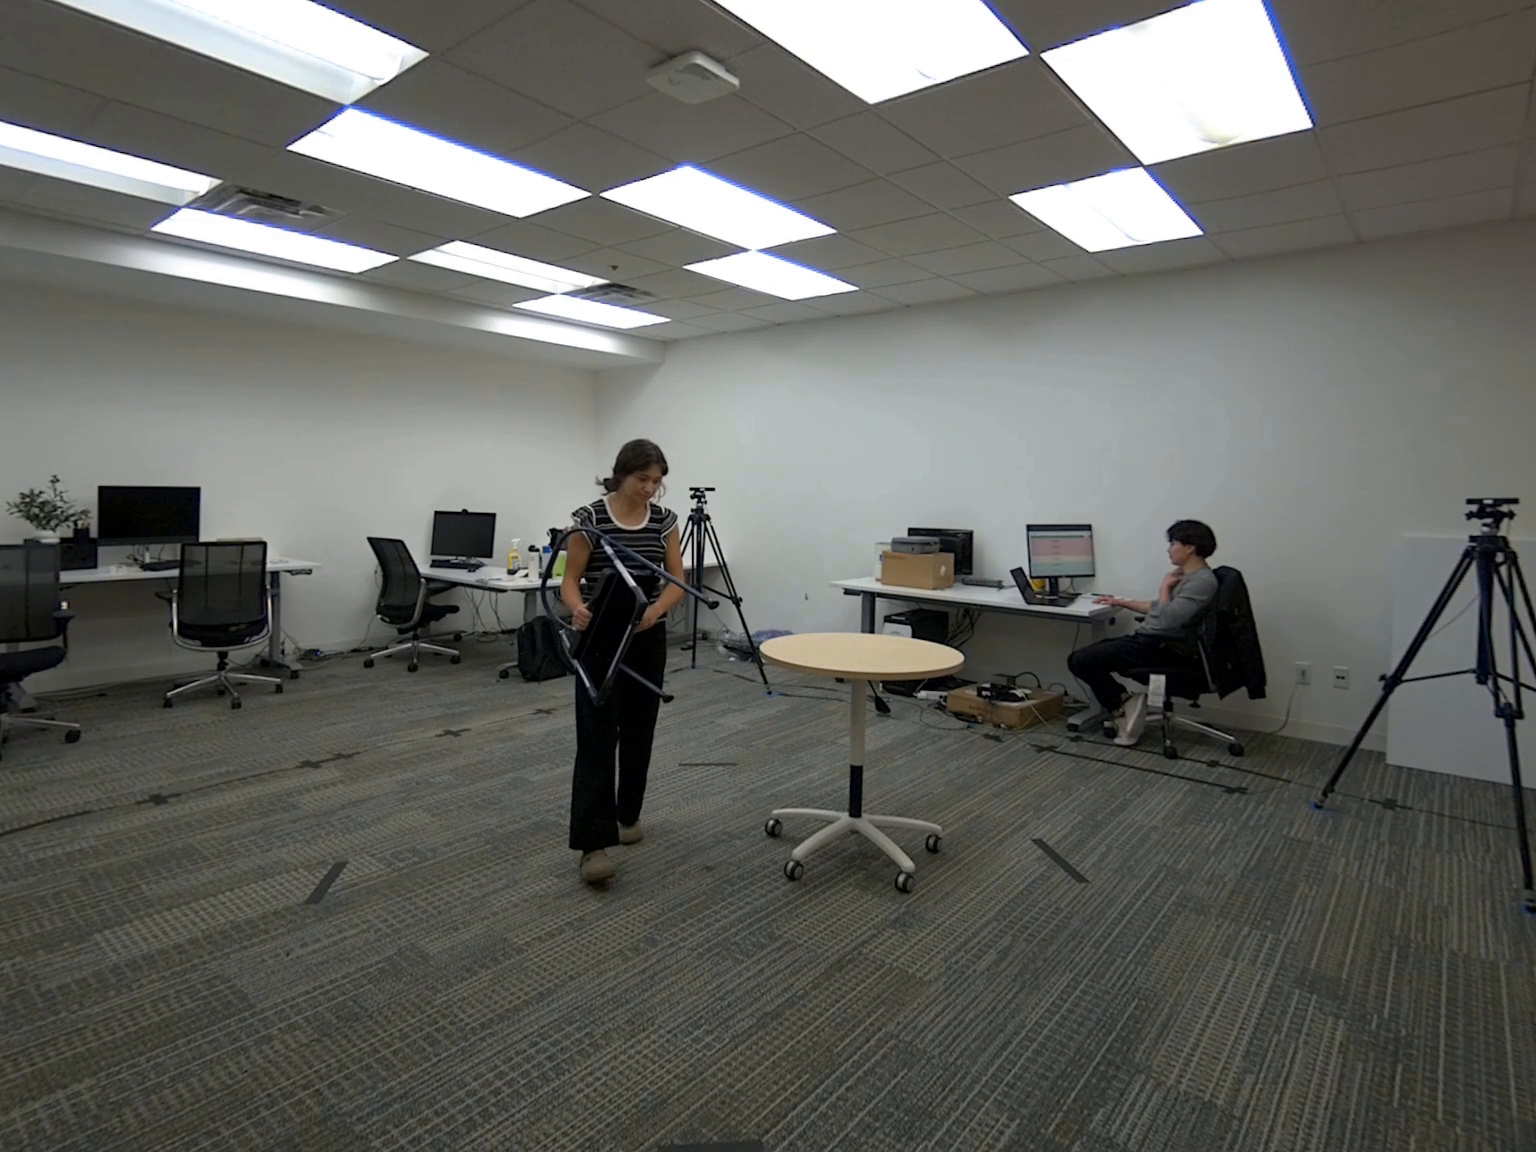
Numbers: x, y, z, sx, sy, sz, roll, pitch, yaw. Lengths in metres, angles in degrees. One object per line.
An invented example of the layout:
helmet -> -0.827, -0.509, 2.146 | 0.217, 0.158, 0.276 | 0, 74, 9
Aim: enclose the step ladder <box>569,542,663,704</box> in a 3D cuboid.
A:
step ladder -> -0.579, 0.098, 3.030 | 0.631, 0.427, 0.337 | 38, 21, 35
